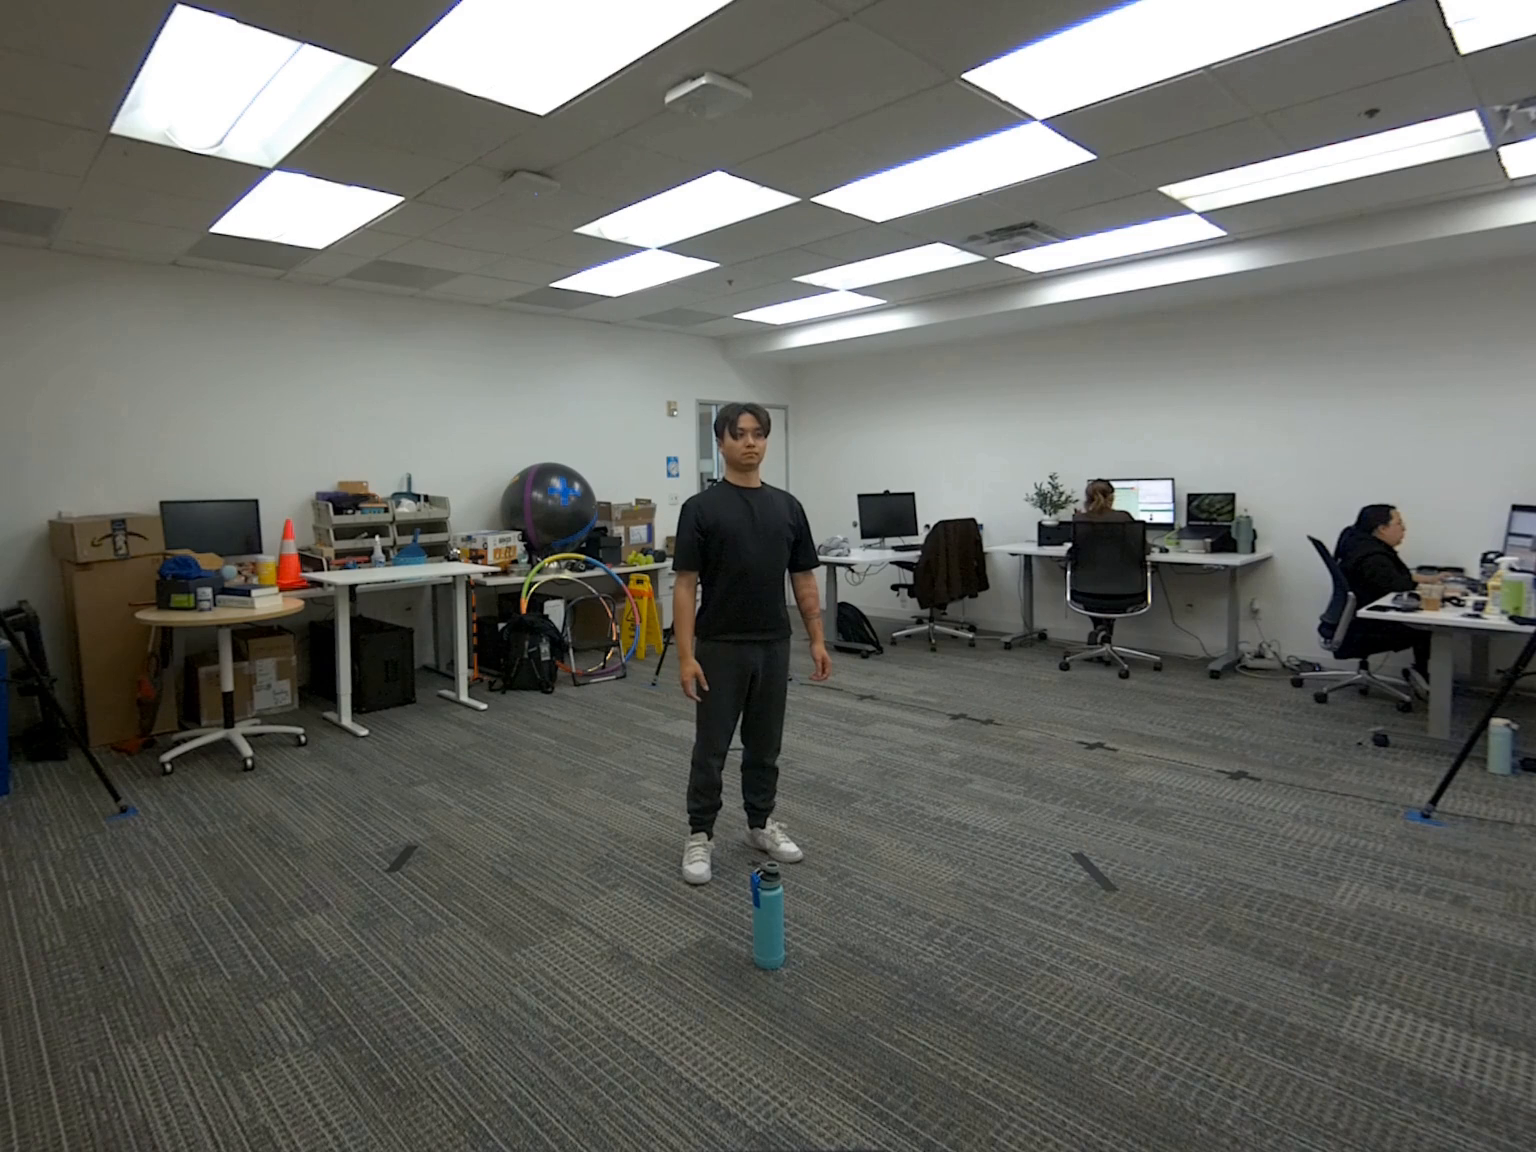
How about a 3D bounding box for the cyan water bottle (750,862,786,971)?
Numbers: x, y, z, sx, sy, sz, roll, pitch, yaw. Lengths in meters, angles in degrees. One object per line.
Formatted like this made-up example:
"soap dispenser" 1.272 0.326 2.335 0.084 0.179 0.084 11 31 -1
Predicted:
"cyan water bottle" 0.004 0.983 2.467 0.092 0.282 0.093 -2 3 -2
